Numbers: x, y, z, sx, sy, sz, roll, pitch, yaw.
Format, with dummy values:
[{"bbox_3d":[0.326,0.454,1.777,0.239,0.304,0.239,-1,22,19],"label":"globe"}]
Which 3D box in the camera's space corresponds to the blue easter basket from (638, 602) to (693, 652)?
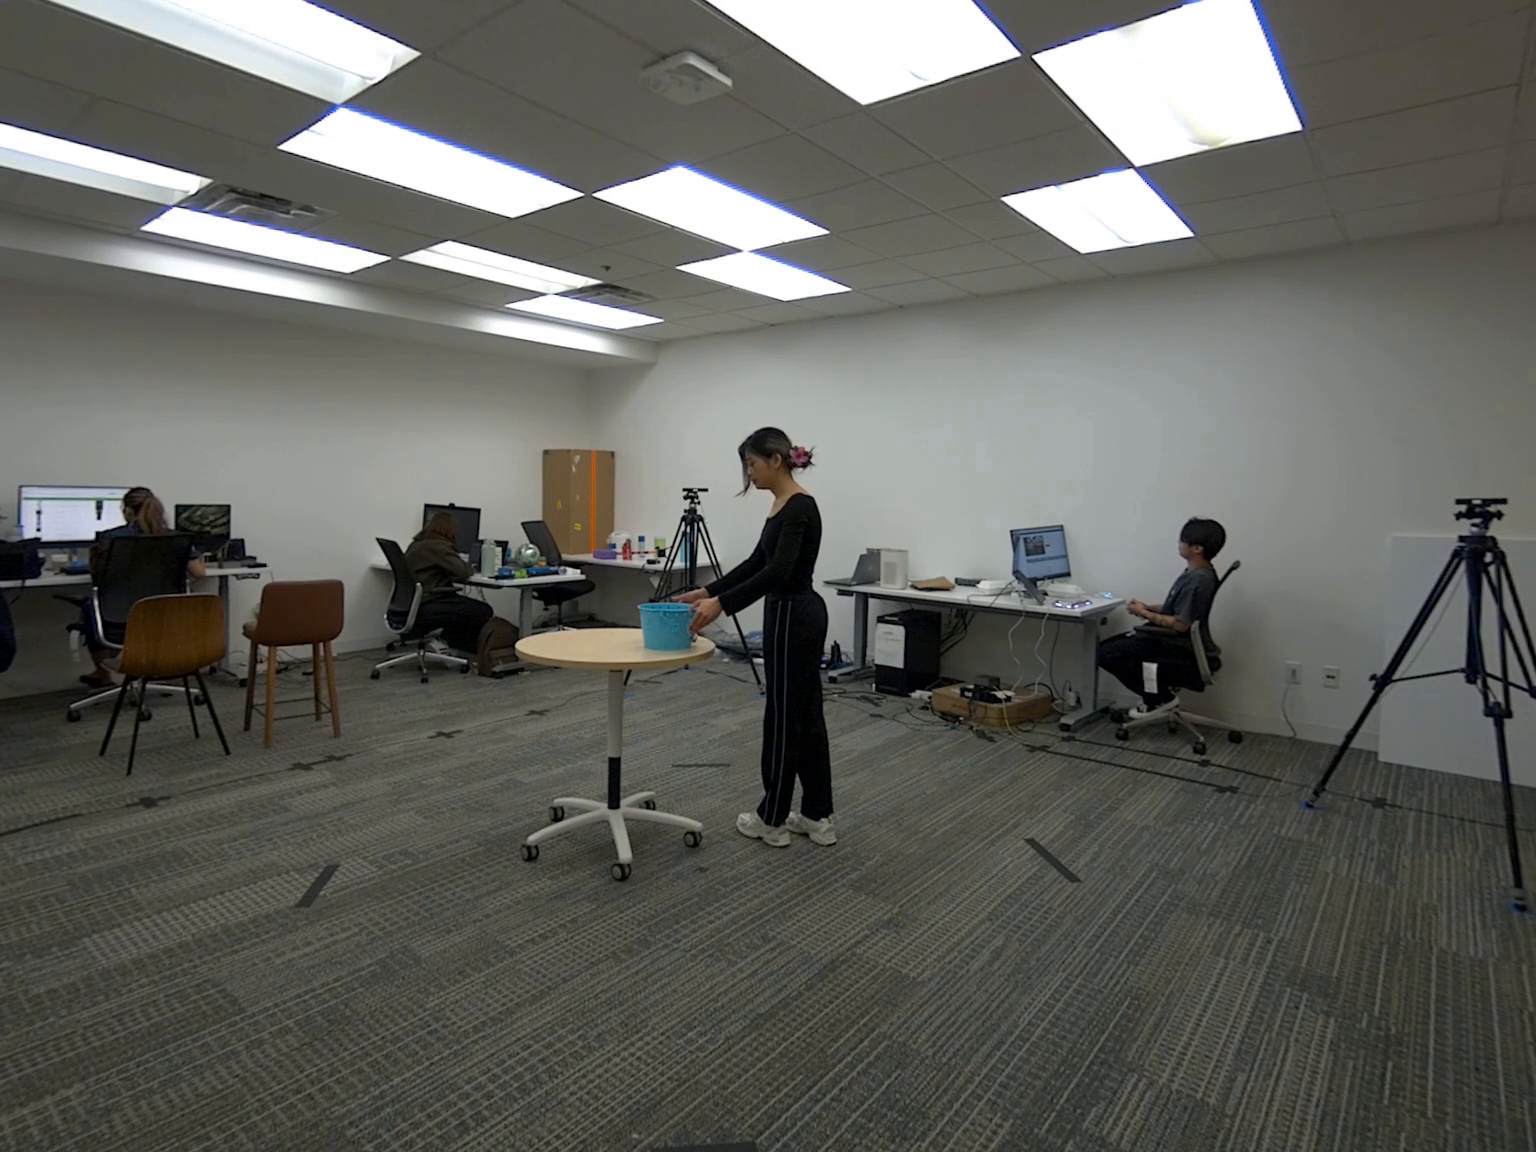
[{"bbox_3d":[-0.395,0.192,3.253,0.243,0.156,0.244,-1,3,-2],"label":"blue easter basket"}]
